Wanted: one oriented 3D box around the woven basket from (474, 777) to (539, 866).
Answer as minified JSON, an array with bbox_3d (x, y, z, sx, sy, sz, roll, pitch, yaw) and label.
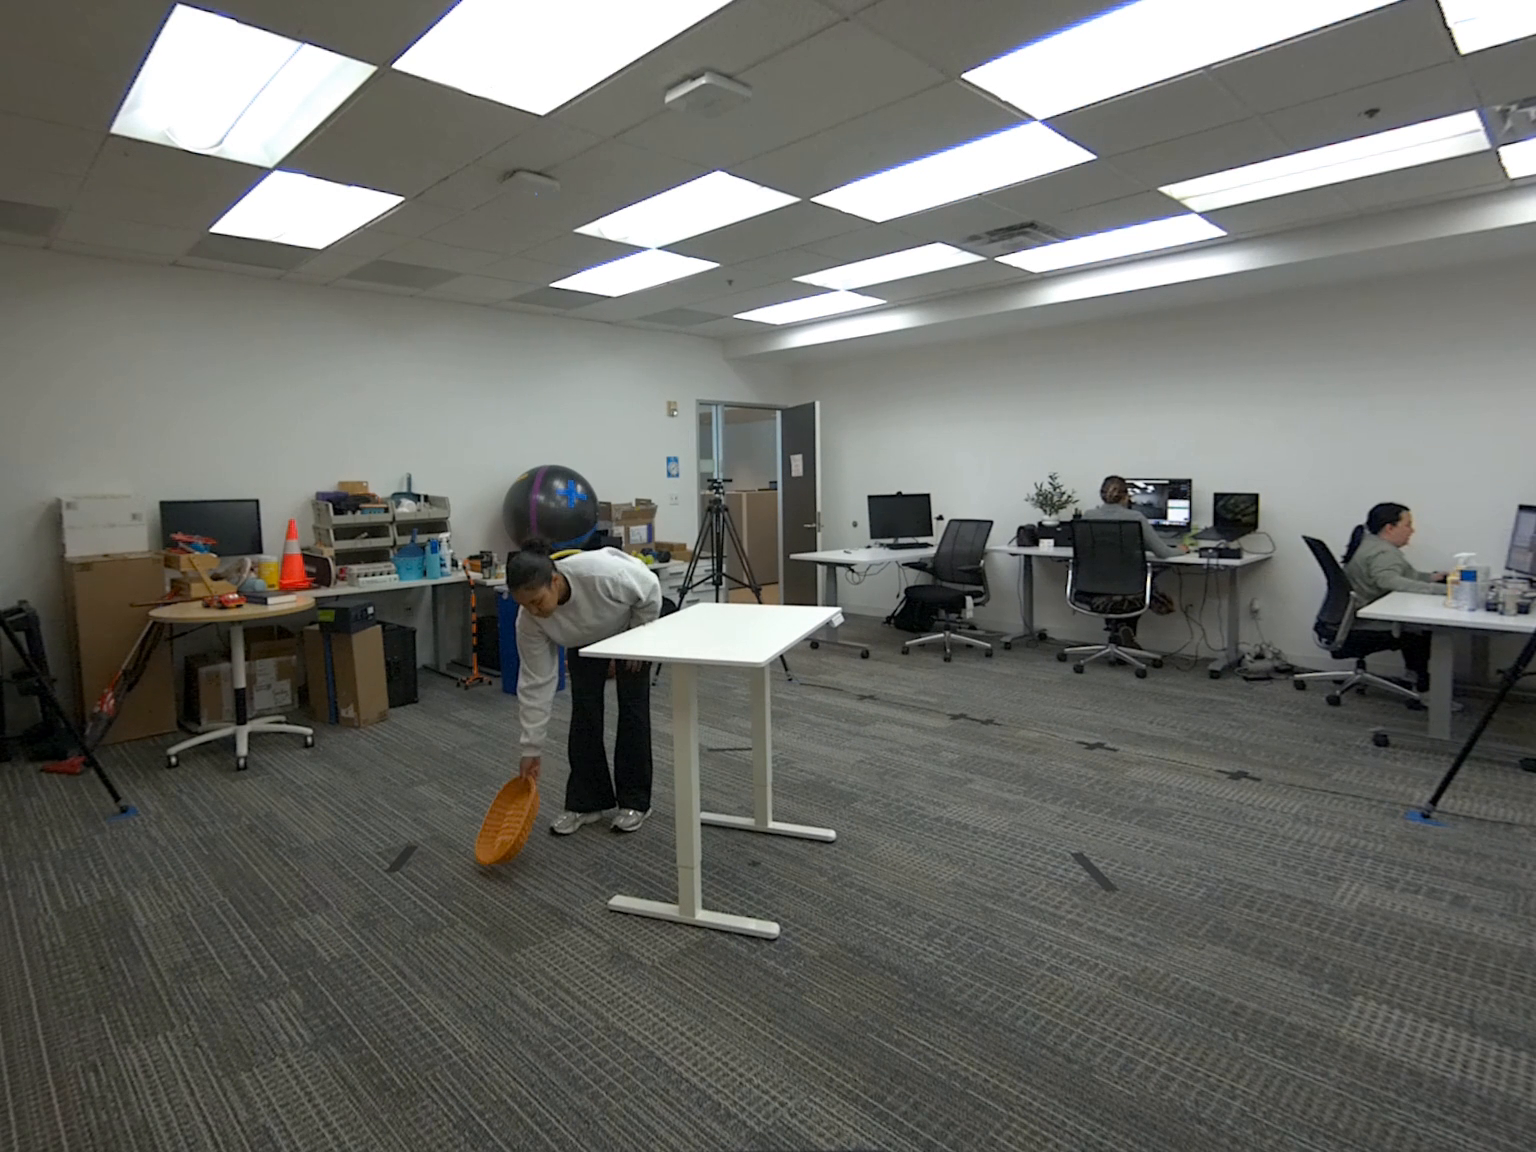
[{"bbox_3d":[-0.935,0.890,3.139,0.258,0.355,0.071,-10,-42,40],"label":"woven basket"}]
